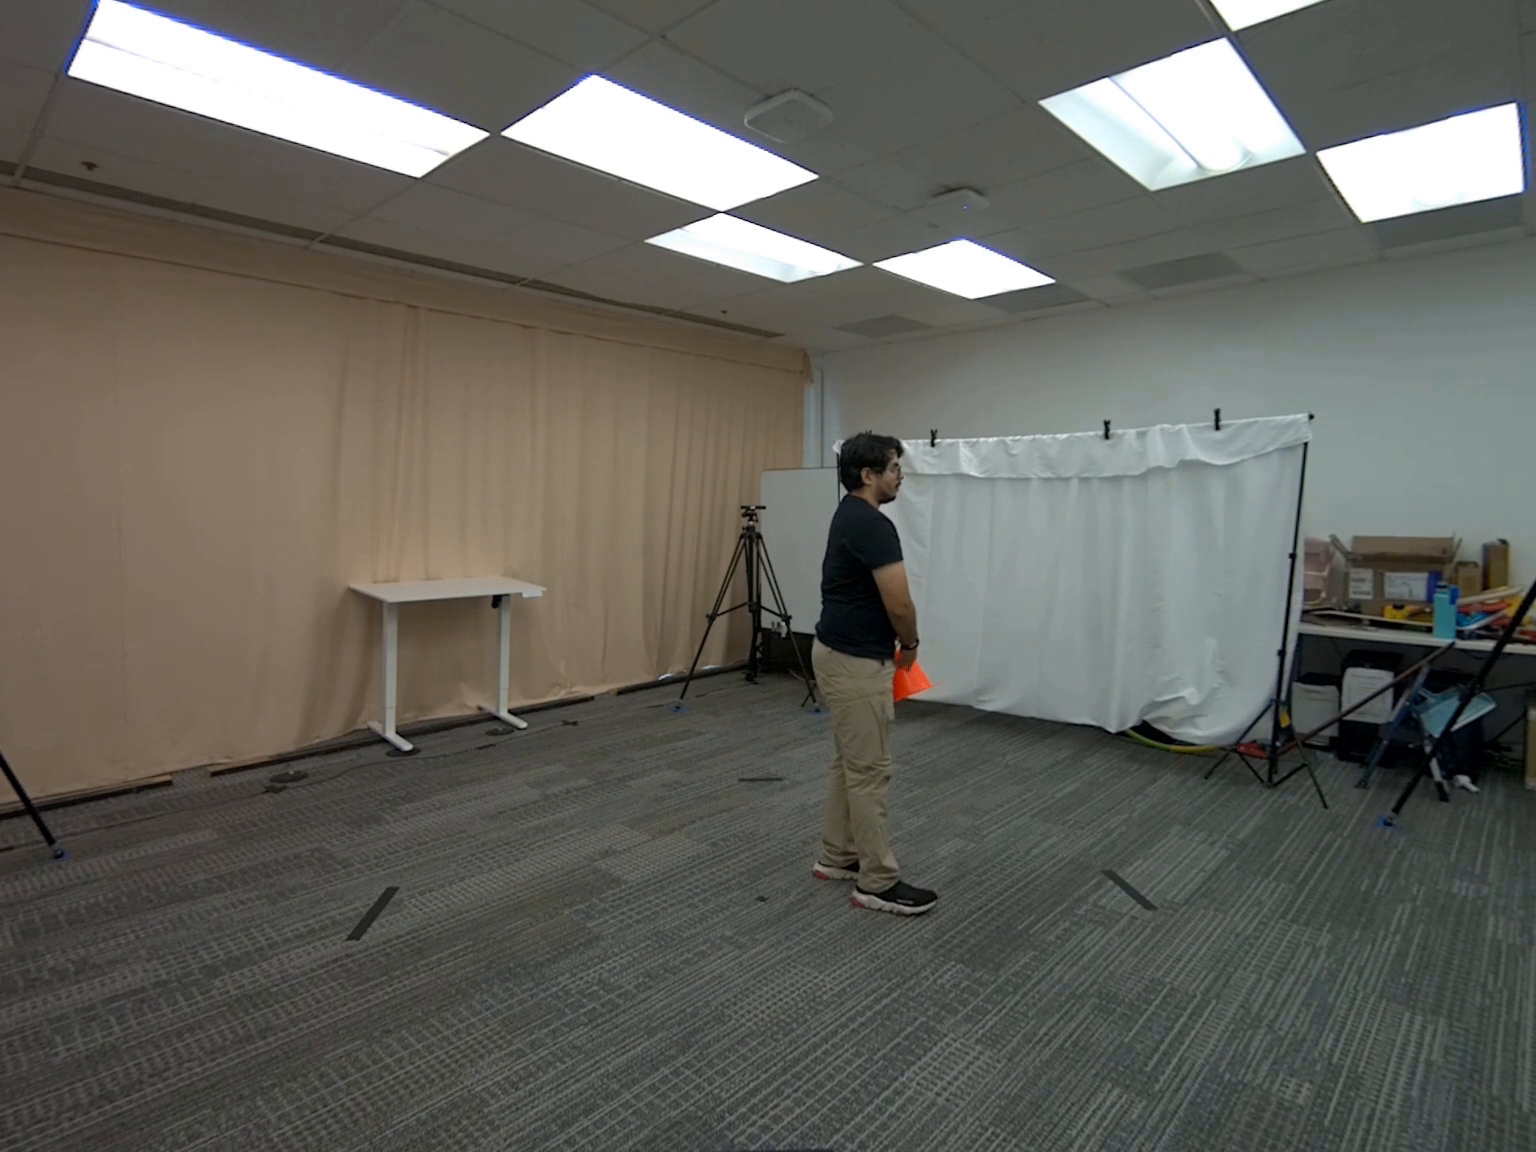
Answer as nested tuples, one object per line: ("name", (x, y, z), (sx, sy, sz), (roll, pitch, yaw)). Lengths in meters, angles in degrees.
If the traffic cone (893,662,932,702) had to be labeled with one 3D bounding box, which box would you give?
("traffic cone", (0.497, 0.286, 3.259), (0.207, 0.389, 0.199), (-30, -17, 37))
